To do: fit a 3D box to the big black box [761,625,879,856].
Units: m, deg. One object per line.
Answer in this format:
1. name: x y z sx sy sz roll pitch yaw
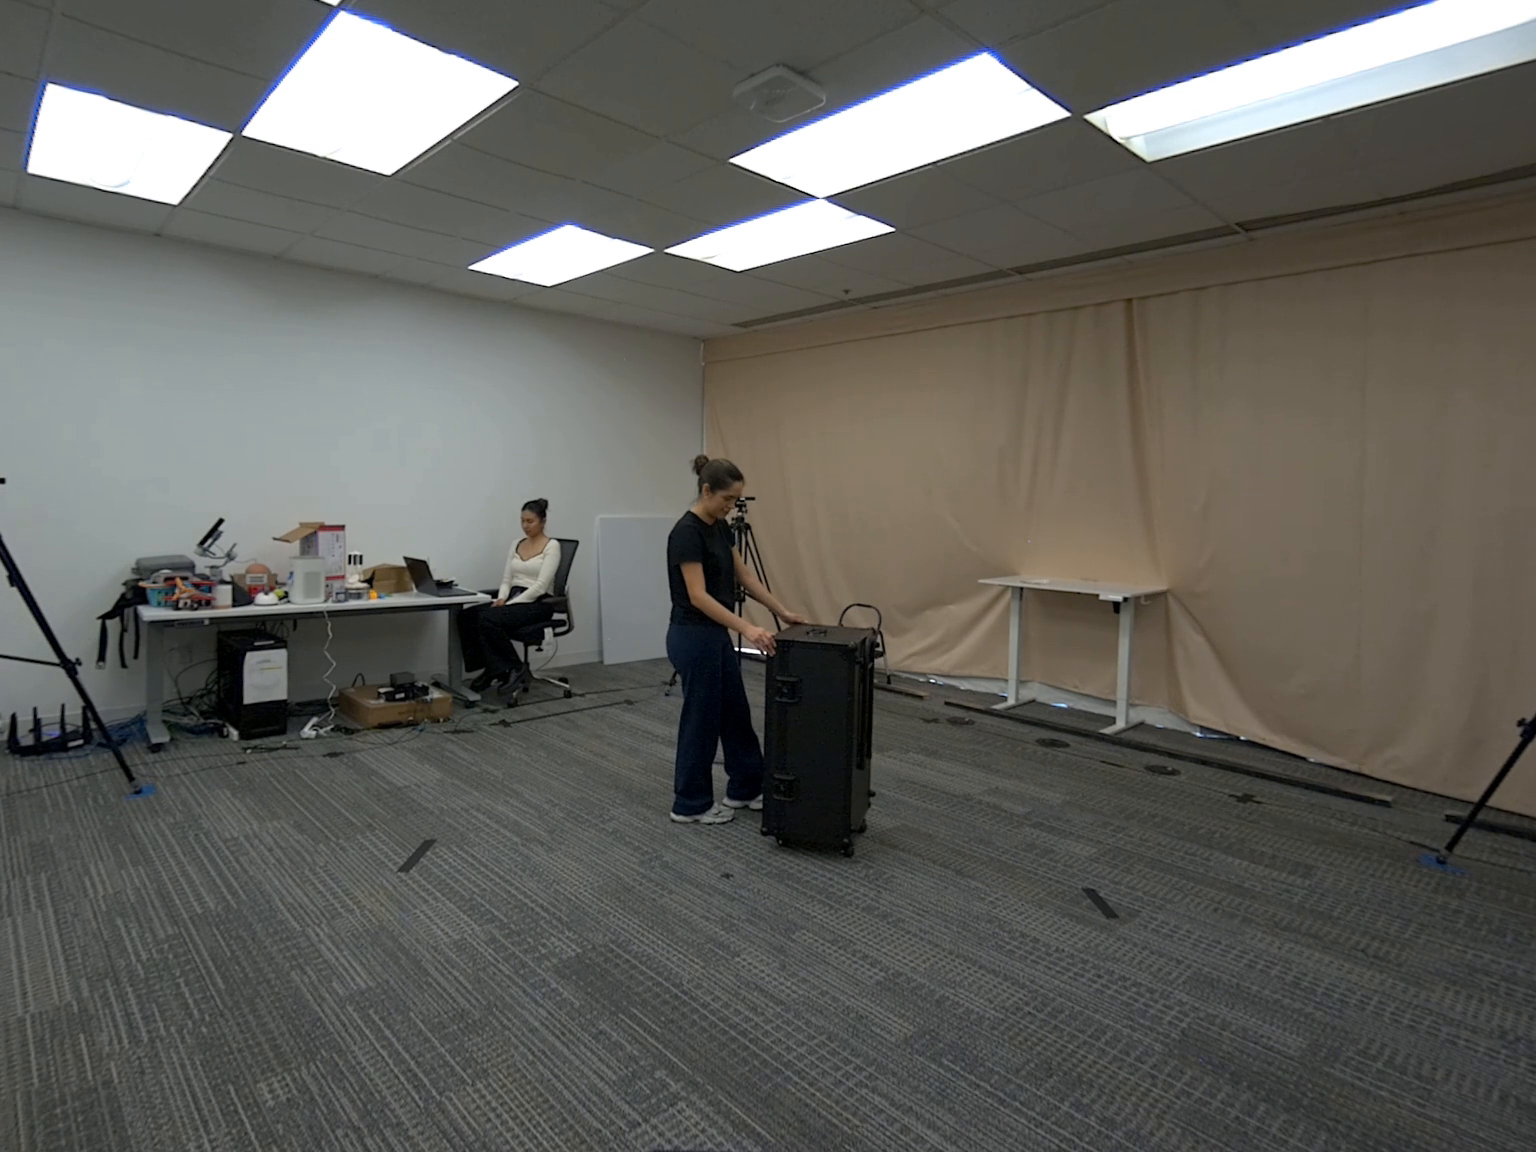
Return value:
1. big black box: 0.223 0.656 3.460 0.402 0.859 0.515 3 3 17
